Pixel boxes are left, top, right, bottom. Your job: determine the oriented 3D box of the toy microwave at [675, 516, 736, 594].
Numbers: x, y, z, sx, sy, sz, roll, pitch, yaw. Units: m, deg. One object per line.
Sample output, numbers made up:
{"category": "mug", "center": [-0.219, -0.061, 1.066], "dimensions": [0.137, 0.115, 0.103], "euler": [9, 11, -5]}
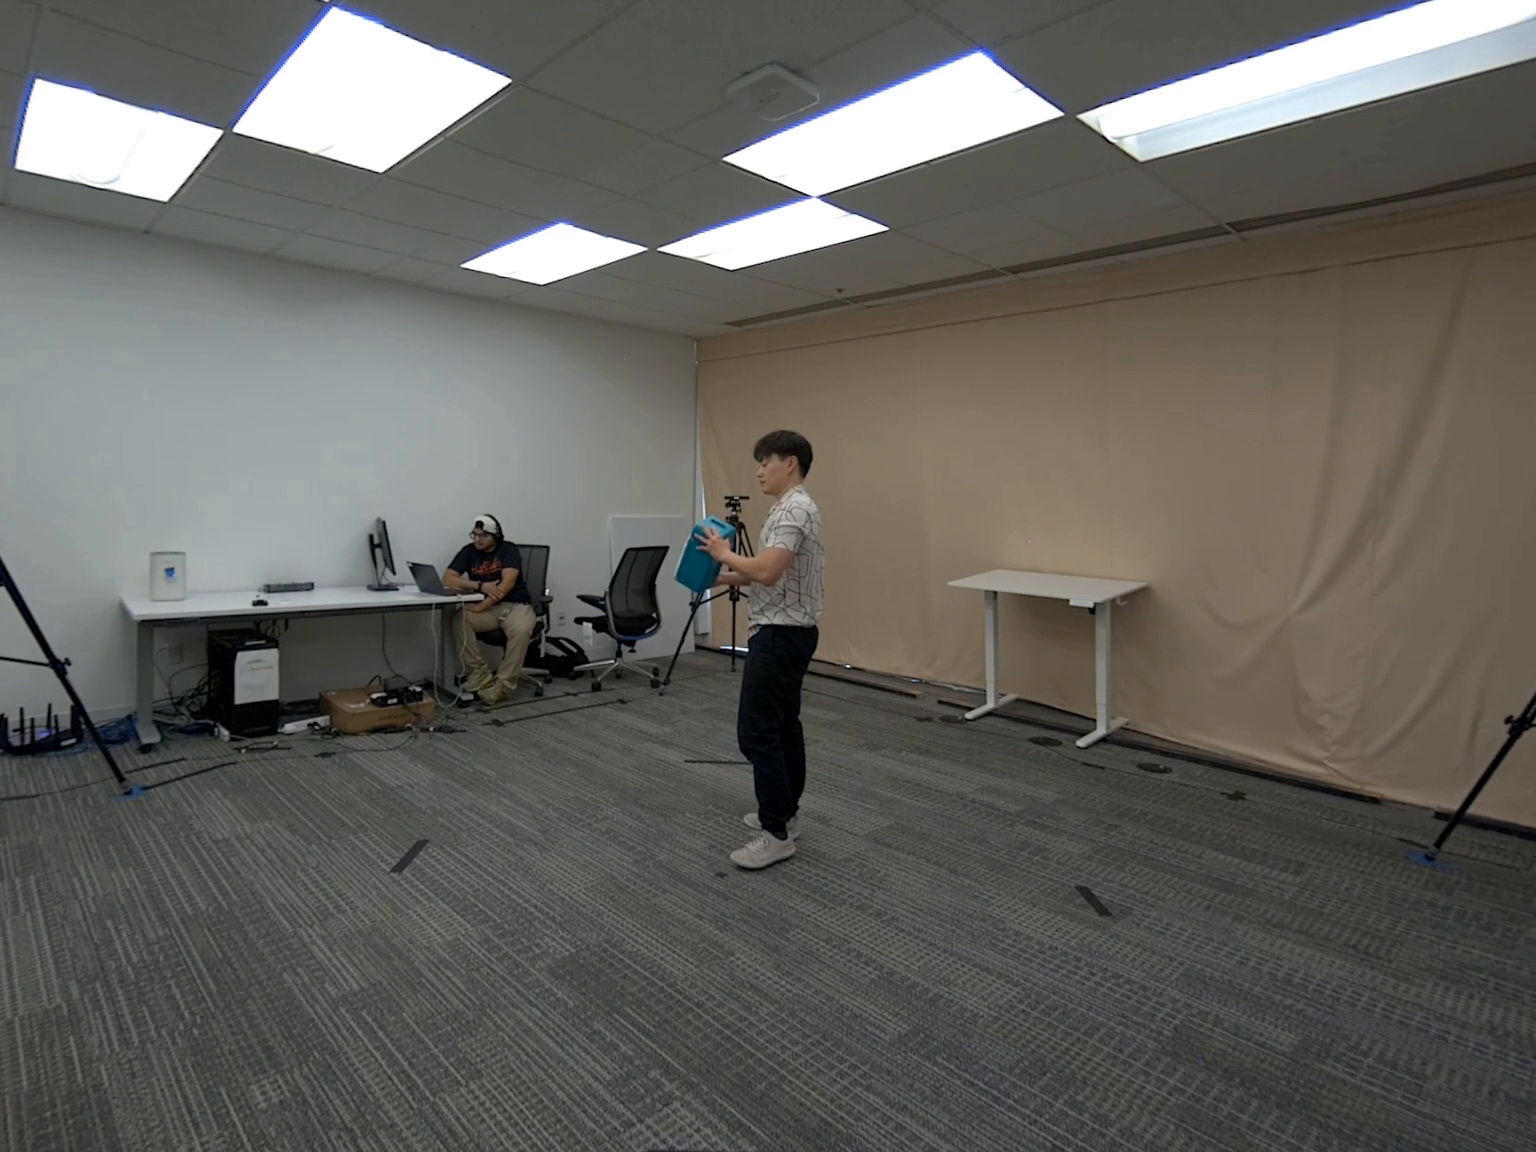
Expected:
{"category": "toy microwave", "center": [-0.271, -0.091, 3.496], "dimensions": [0.155, 0.283, 0.183], "euler": [28, 29, 14]}
